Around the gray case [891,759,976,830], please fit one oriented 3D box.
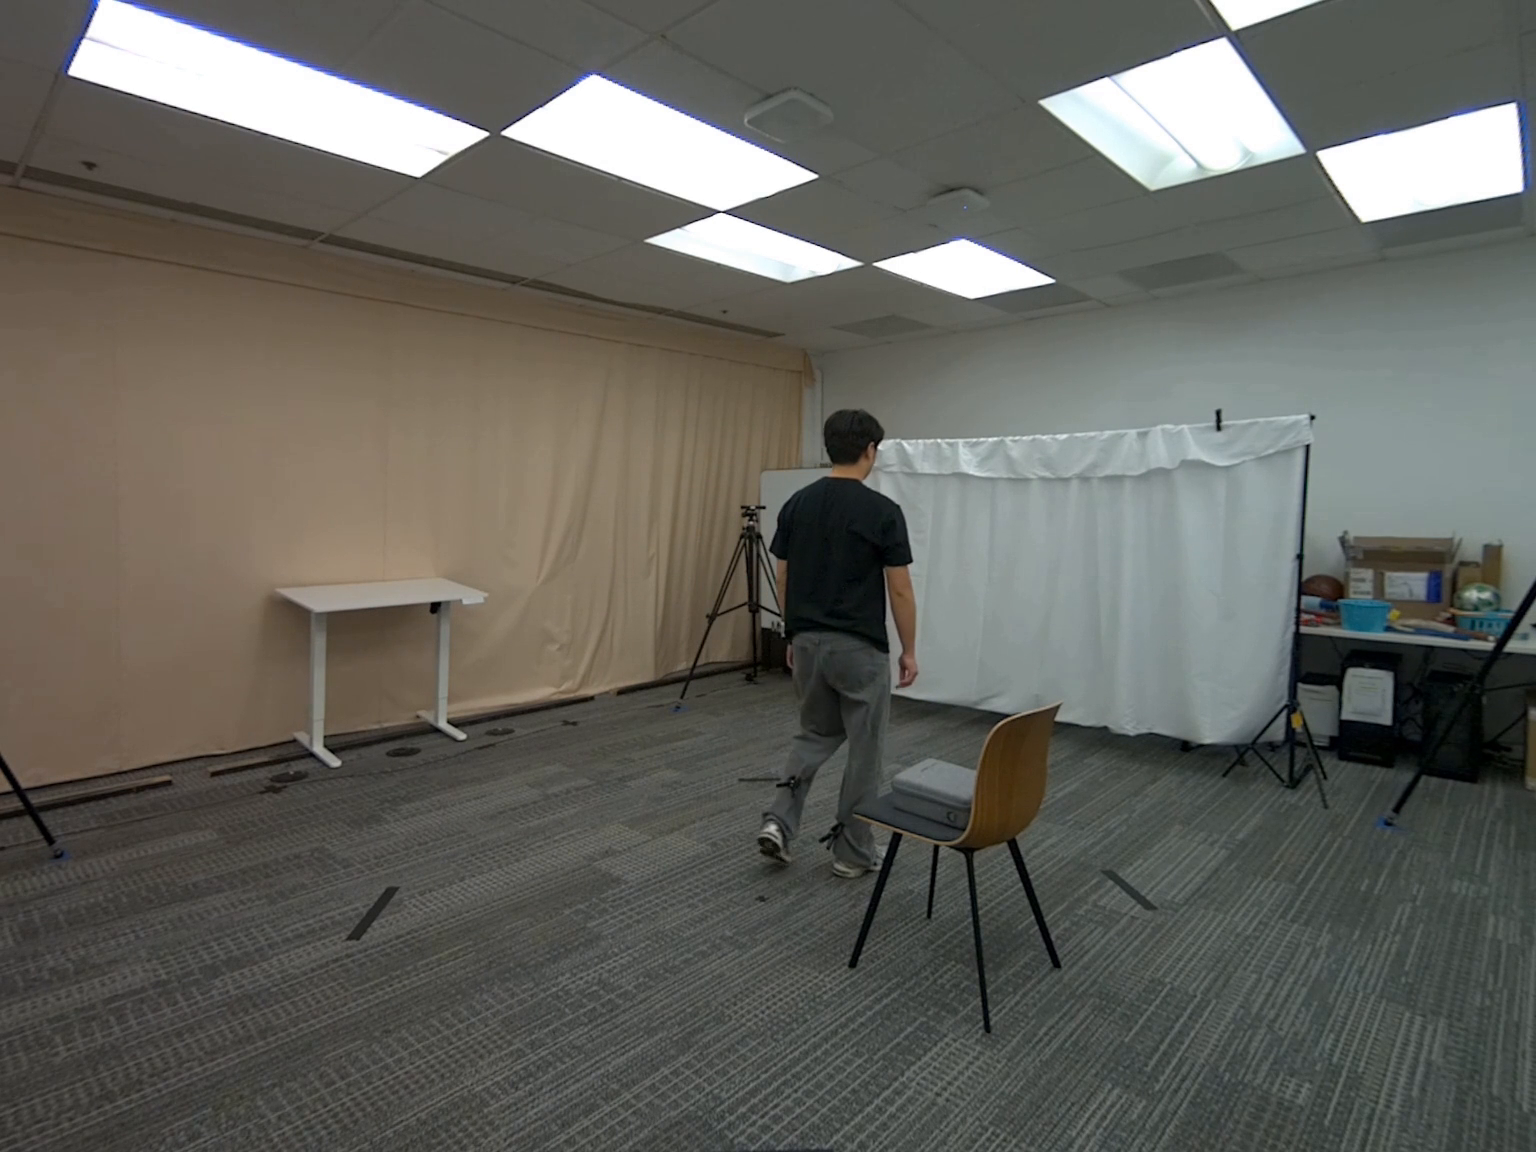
[{"bbox_3d":[0.555,0.655,2.523,0.297,0.102,0.256,8,10,37],"label":"gray case"}]
